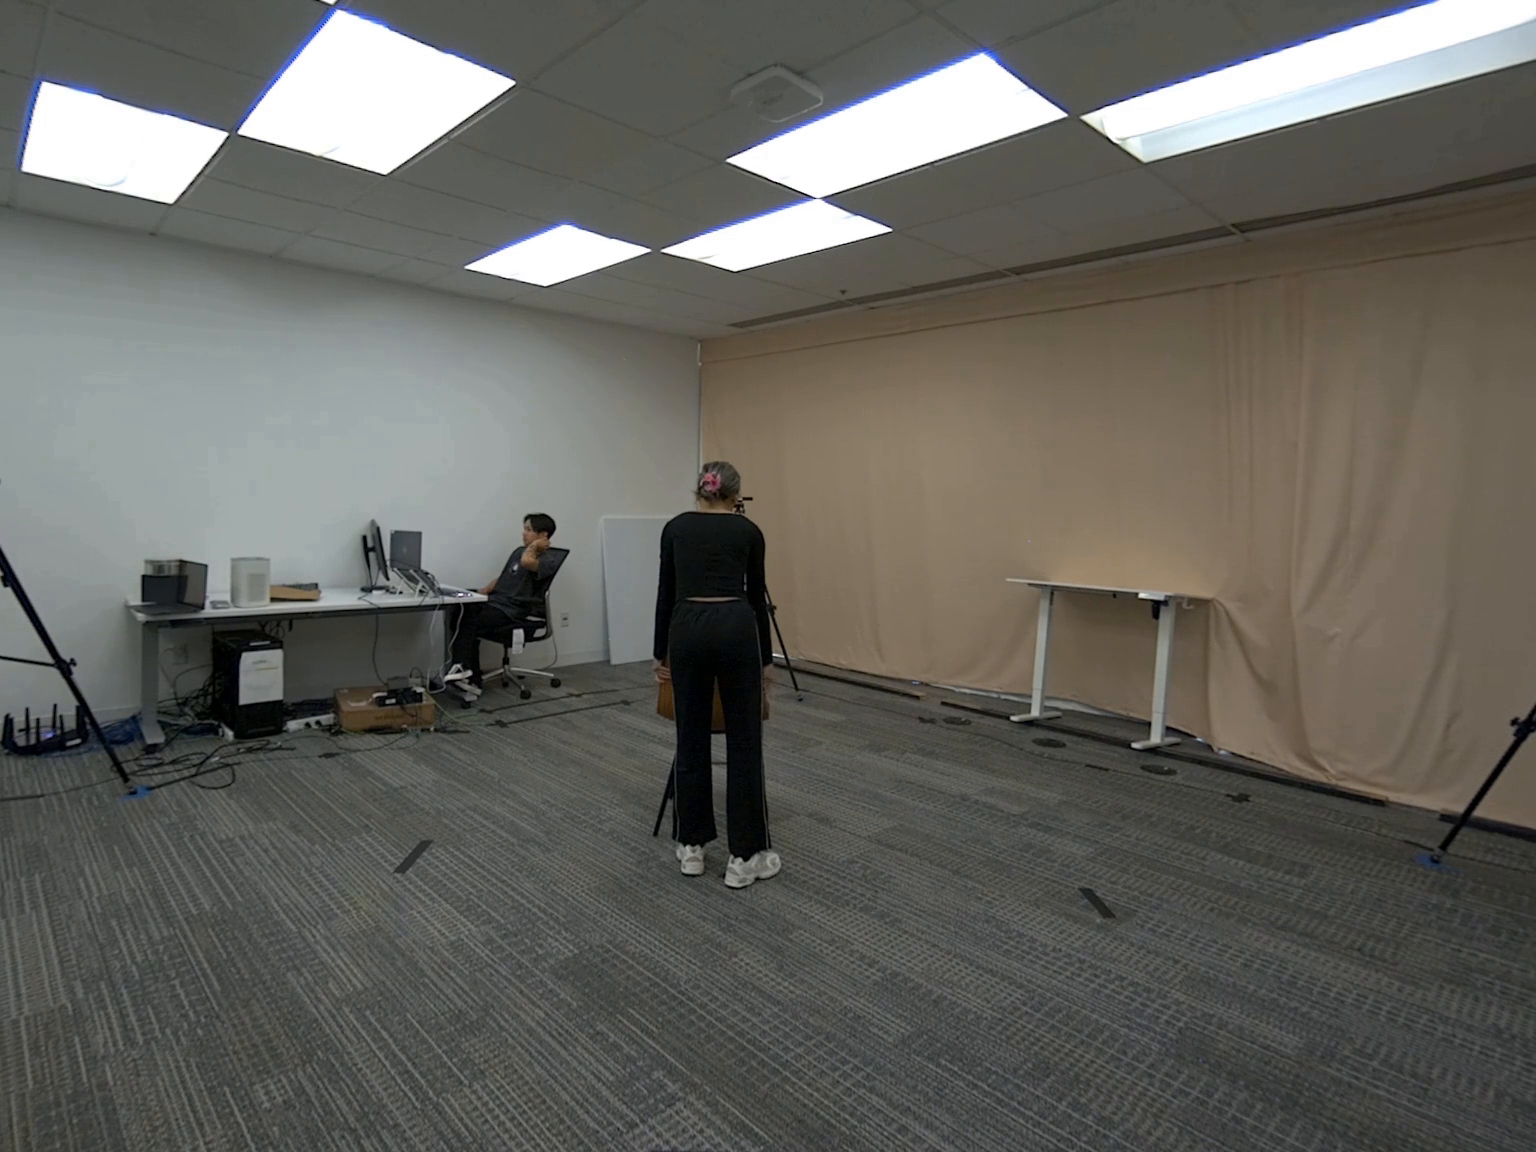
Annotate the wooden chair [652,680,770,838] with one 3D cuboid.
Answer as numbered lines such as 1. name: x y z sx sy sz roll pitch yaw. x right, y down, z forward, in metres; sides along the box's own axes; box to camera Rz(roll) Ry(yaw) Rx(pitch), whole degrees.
1. wooden chair: -0.235 0.633 3.639 0.479 0.873 0.524 1 7 3
